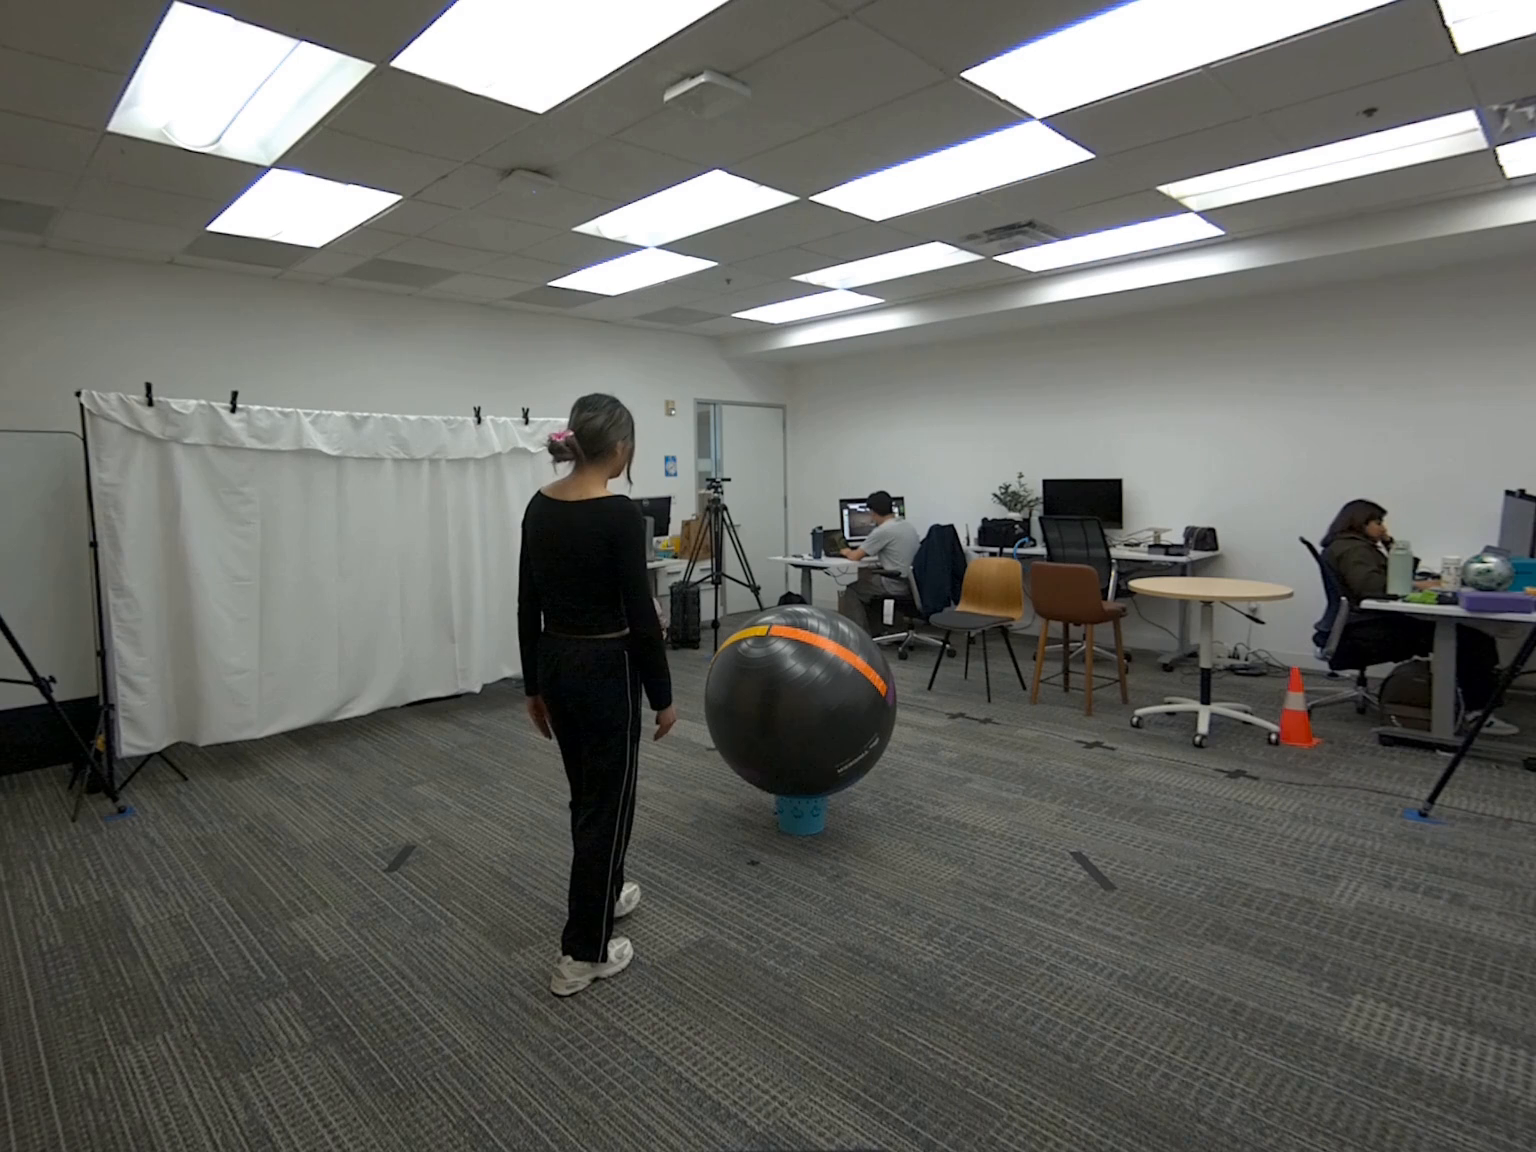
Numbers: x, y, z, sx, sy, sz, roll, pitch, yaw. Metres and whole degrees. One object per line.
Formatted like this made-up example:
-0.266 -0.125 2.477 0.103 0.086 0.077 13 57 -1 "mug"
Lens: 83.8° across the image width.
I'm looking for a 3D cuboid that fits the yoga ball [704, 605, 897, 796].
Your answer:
0.125 0.500 3.409 0.757 0.755 0.762 -1 5 -2 "yoga ball"
